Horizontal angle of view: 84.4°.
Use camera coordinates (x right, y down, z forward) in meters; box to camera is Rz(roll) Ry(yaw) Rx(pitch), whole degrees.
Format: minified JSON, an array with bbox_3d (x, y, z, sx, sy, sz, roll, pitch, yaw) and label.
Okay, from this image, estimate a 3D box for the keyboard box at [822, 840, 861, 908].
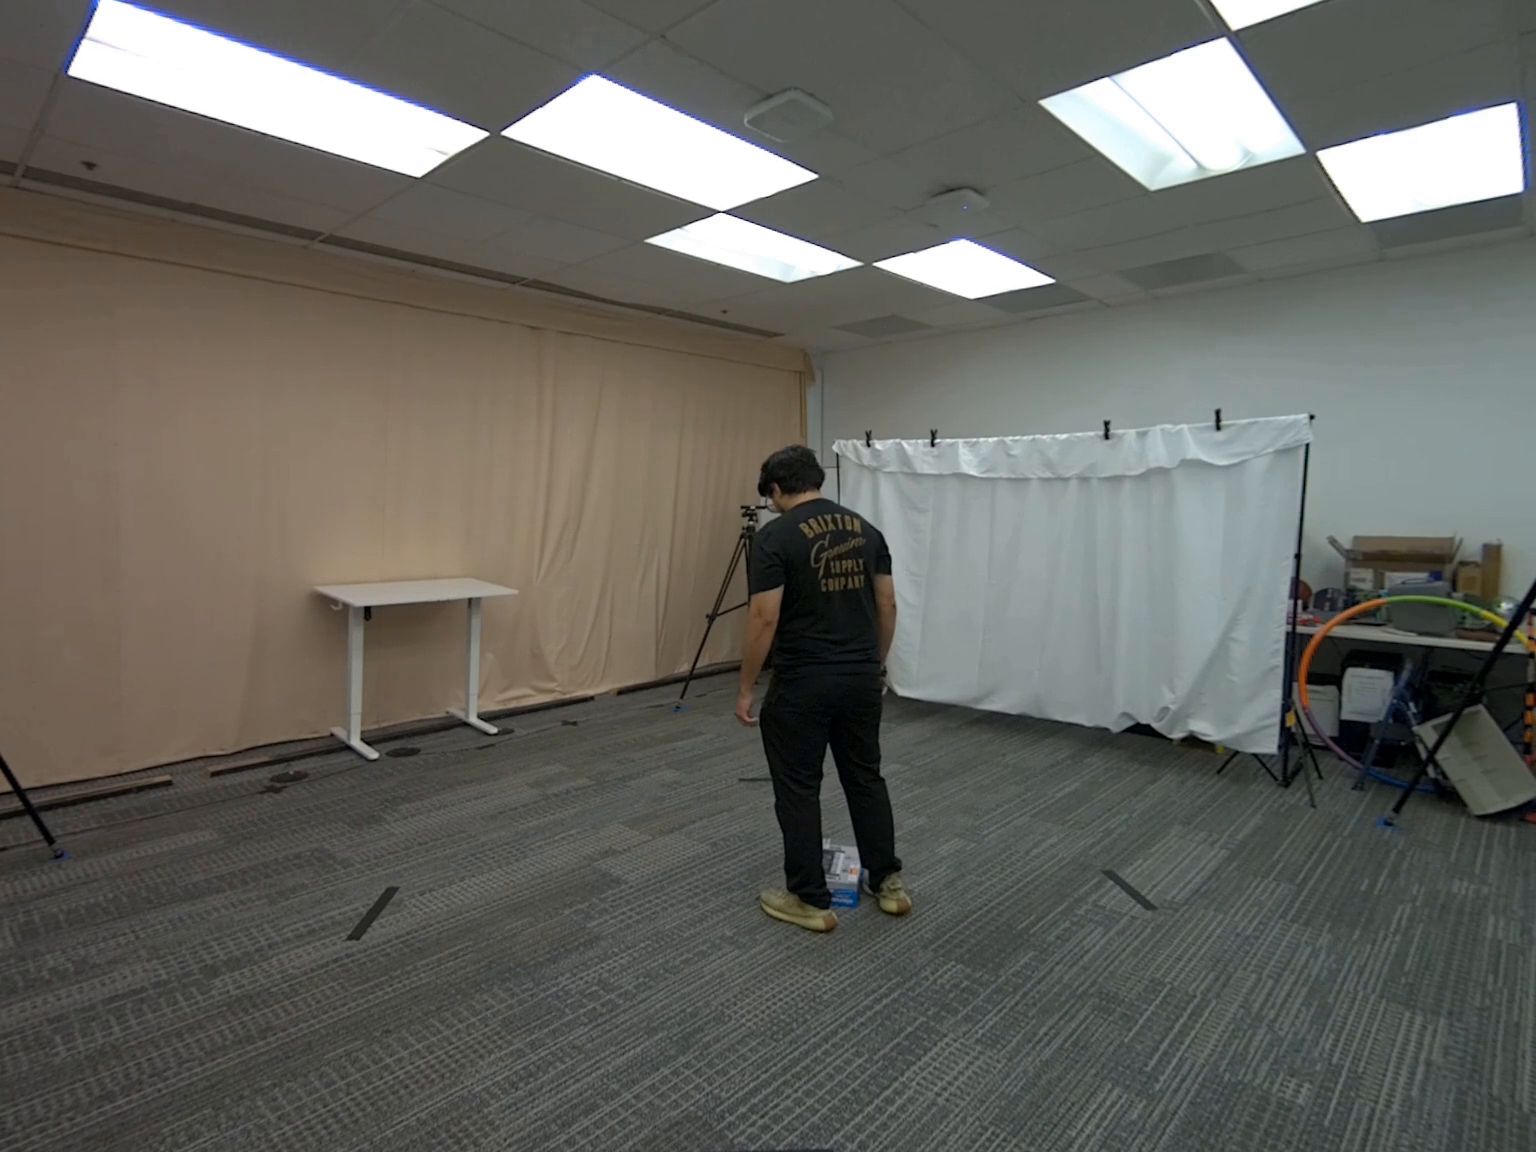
[{"bbox_3d":[0.268,1.102,3.145,0.178,0.059,0.432,2,5,11],"label":"keyboard box"}]
